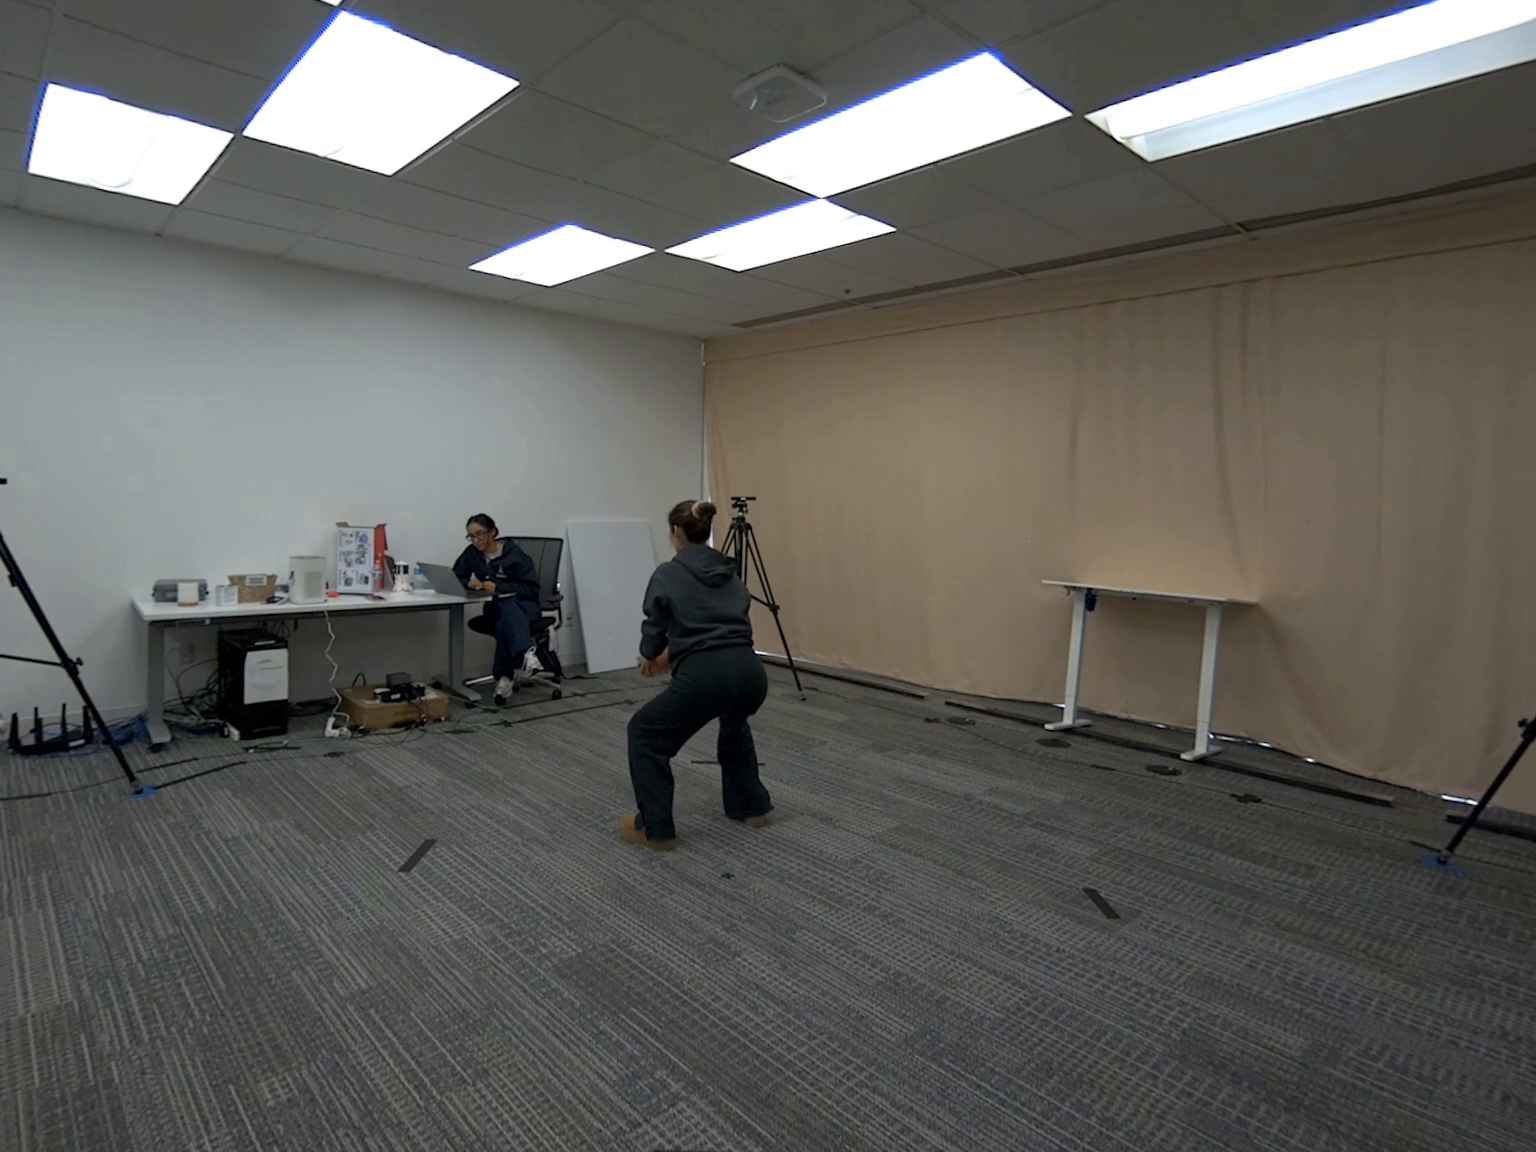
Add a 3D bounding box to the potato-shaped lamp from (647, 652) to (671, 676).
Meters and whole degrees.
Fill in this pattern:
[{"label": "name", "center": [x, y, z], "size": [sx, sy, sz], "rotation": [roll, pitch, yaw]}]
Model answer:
[{"label": "potato-shaped lamp", "center": [-0.506, 0.333, 3.800], "size": [0.161, 0.201, 0.172], "rotation": [-4, -22, -30]}]
